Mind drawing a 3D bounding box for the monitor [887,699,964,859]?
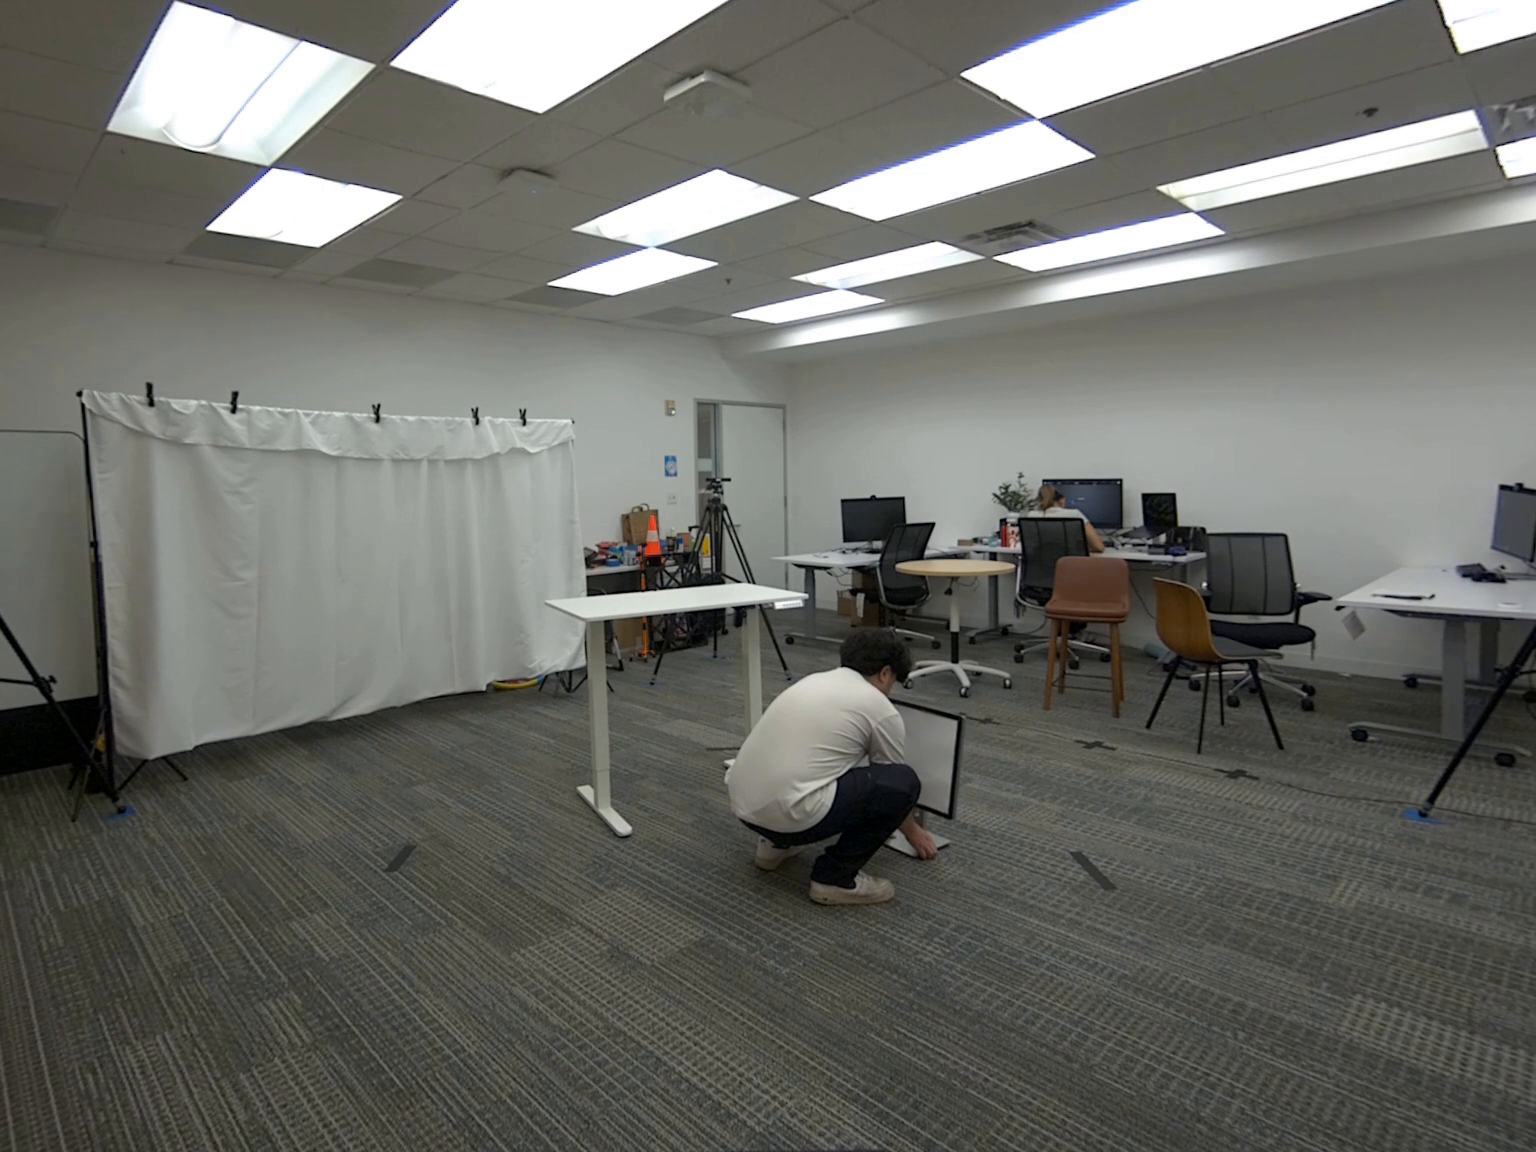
[{"bbox_3d":[0.550,0.742,3.263,0.204,0.554,0.581,2,0,-37],"label":"monitor"}]
